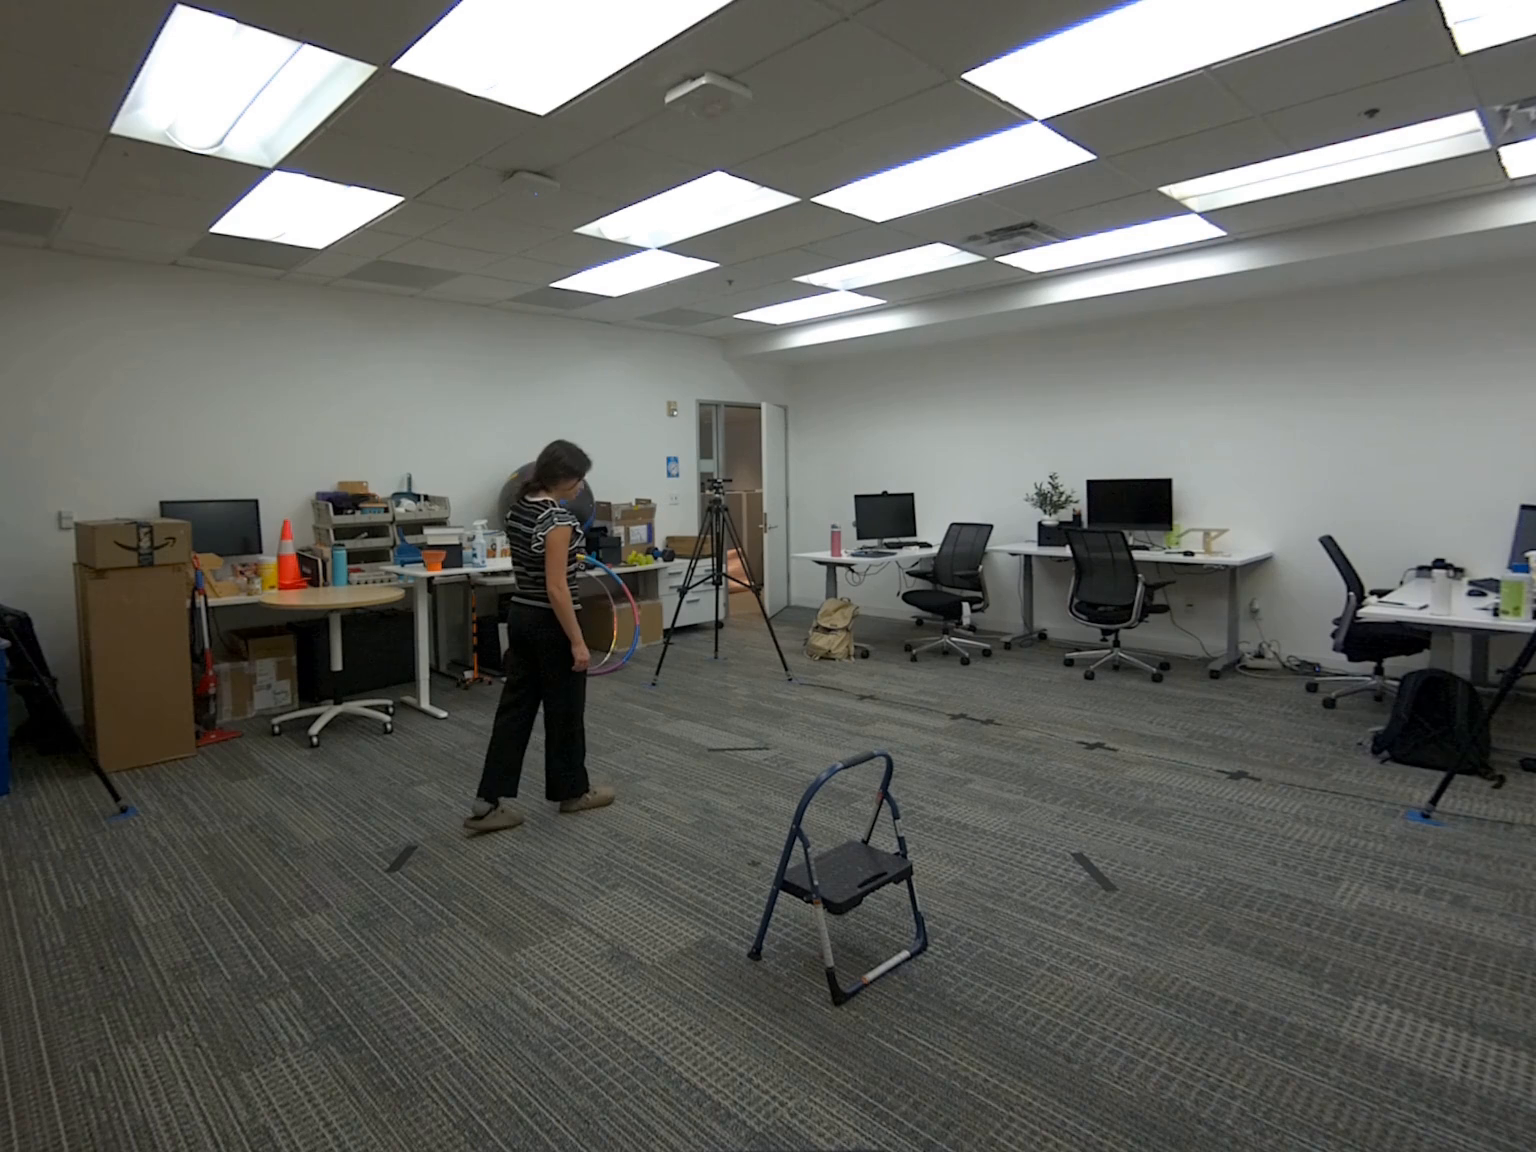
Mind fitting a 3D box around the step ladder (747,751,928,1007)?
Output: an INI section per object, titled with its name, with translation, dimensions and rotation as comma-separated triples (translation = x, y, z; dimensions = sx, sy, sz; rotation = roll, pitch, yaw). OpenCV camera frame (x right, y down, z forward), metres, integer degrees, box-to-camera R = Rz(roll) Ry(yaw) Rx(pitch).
[step ladder]
translation = 0.209, 0.811, 2.497
dimensions = 0.419, 0.604, 0.360
rotation = -6, 6, -44
